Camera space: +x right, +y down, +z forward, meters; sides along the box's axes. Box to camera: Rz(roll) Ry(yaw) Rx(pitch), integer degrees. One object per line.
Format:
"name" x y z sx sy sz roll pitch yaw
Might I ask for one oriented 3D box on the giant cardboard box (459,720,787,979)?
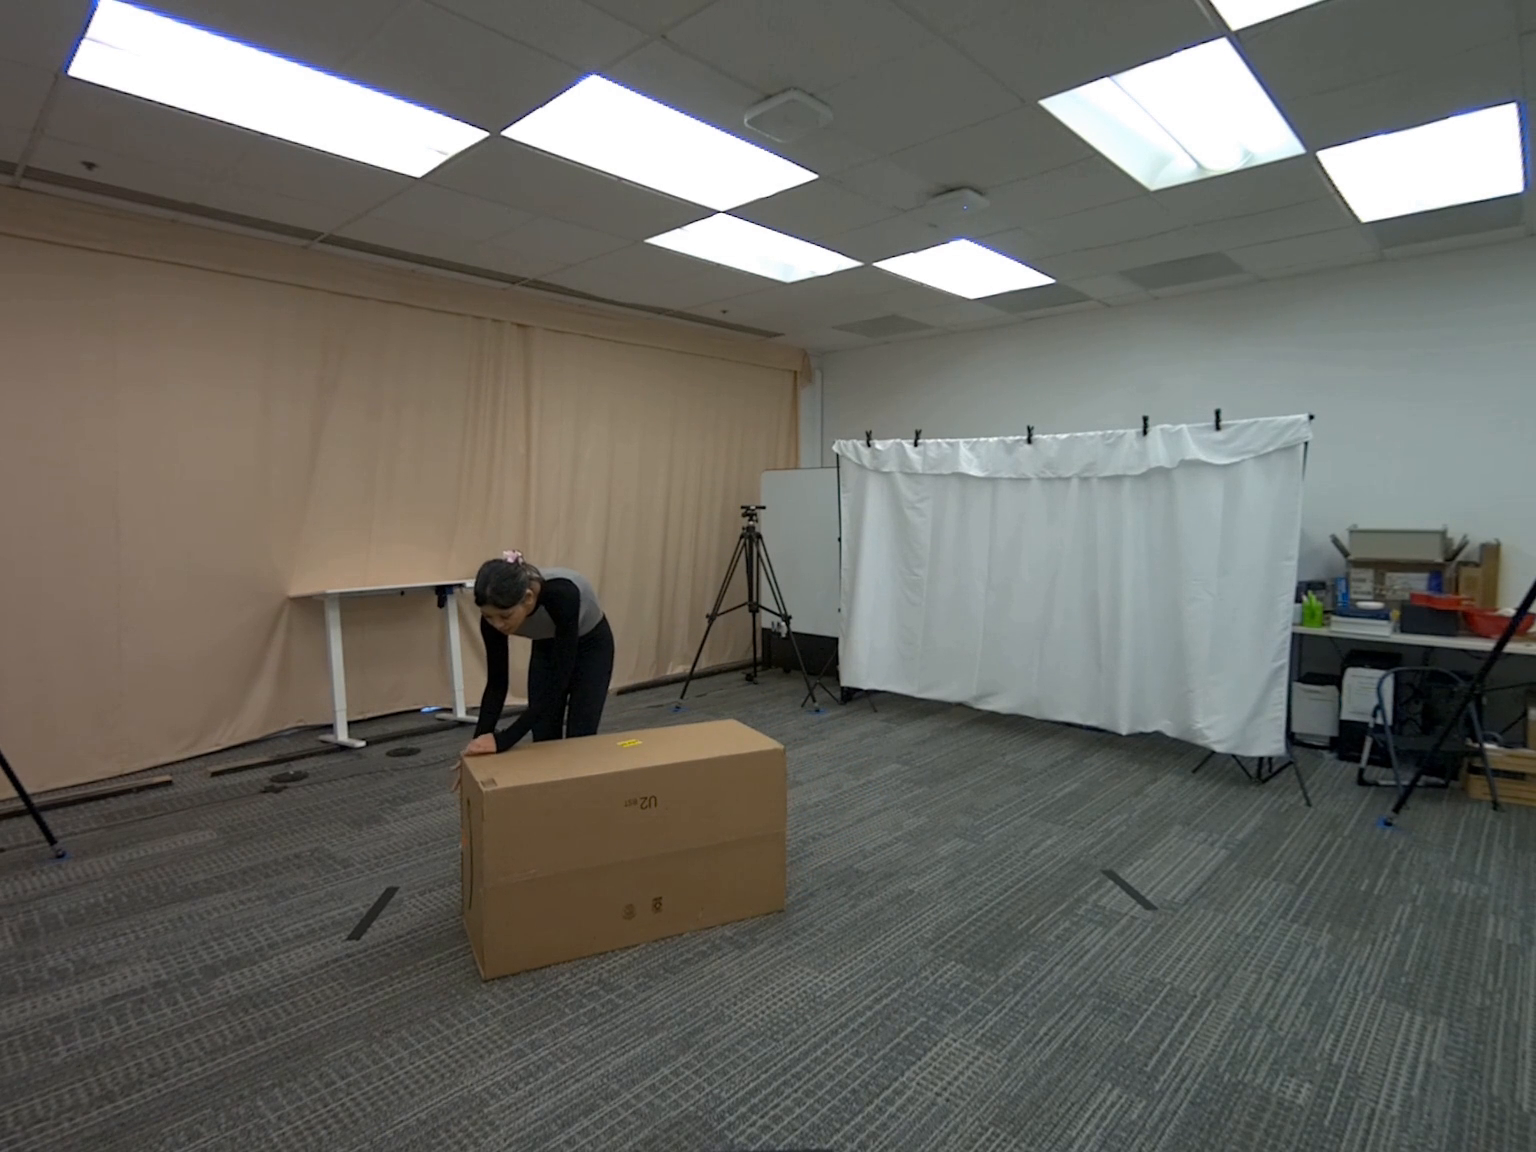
"giant cardboard box" -0.476 0.871 2.855 1.002 0.583 0.459 -2 3 -27
